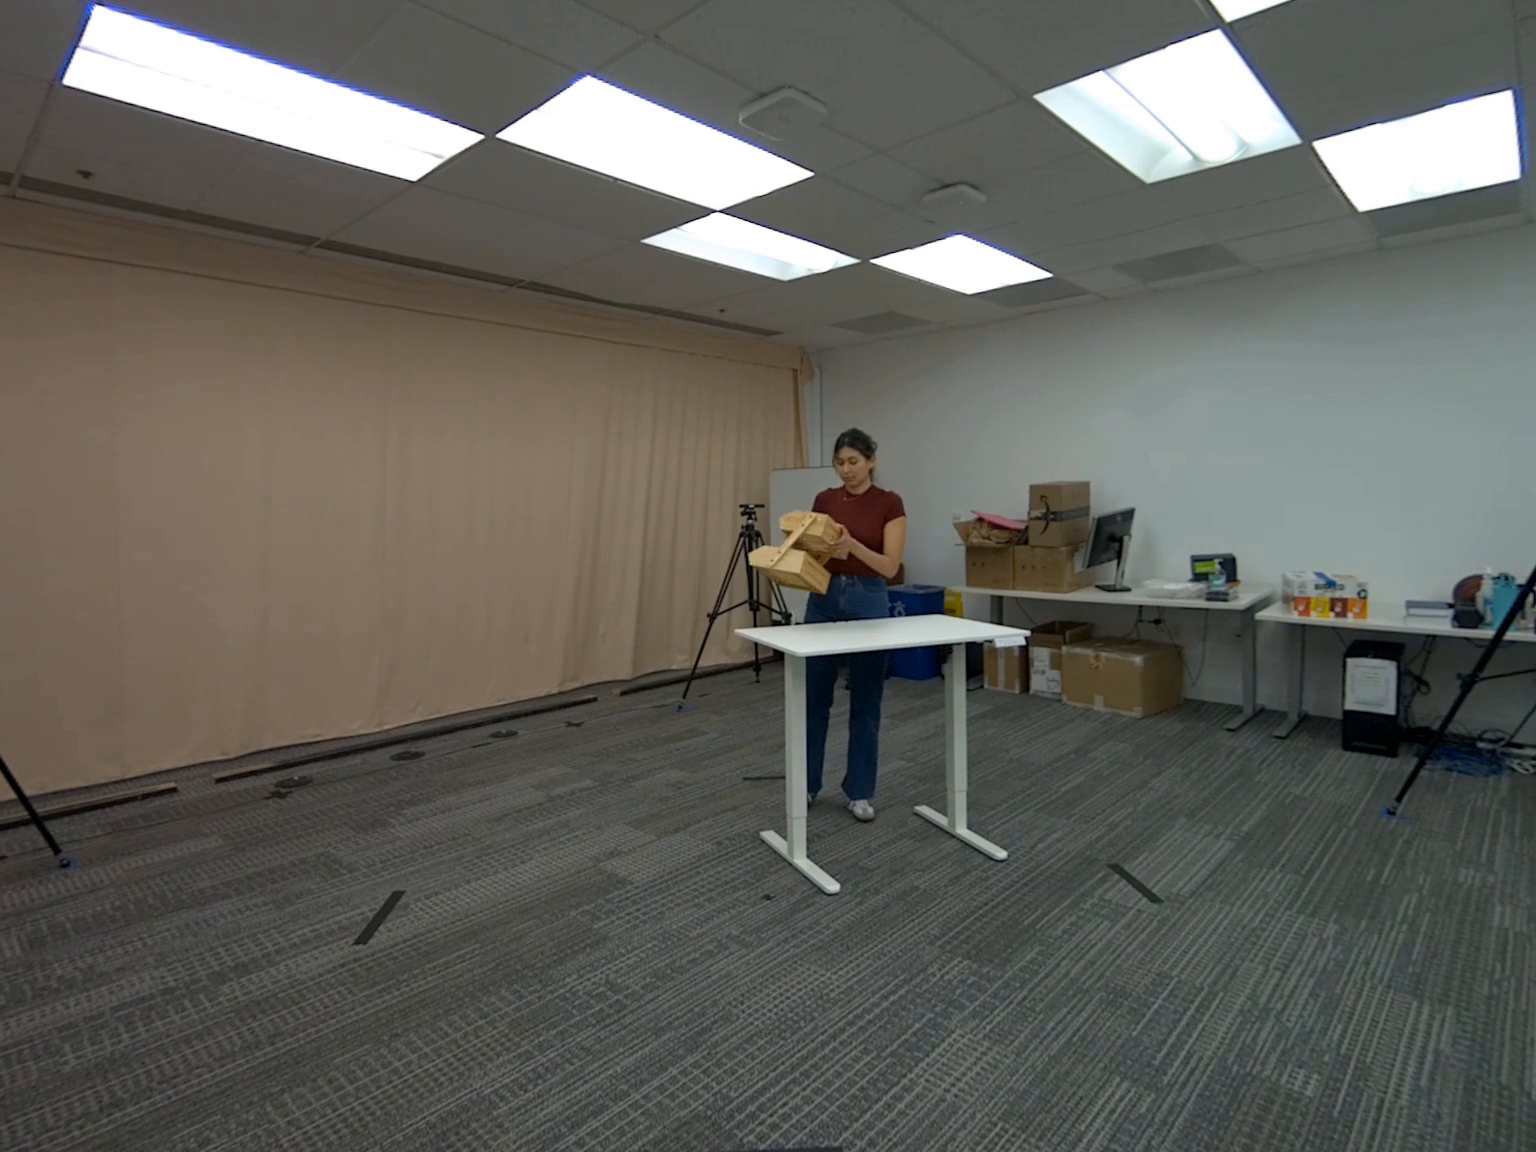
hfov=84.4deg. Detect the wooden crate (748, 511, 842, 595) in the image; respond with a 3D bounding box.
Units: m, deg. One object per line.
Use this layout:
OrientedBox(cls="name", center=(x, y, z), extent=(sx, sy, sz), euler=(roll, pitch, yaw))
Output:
OrientedBox(cls="wooden crate", center=(0.136, -0.107, 3.557), extent=(0.311, 0.274, 0.313), euler=(11, -13, 30))
